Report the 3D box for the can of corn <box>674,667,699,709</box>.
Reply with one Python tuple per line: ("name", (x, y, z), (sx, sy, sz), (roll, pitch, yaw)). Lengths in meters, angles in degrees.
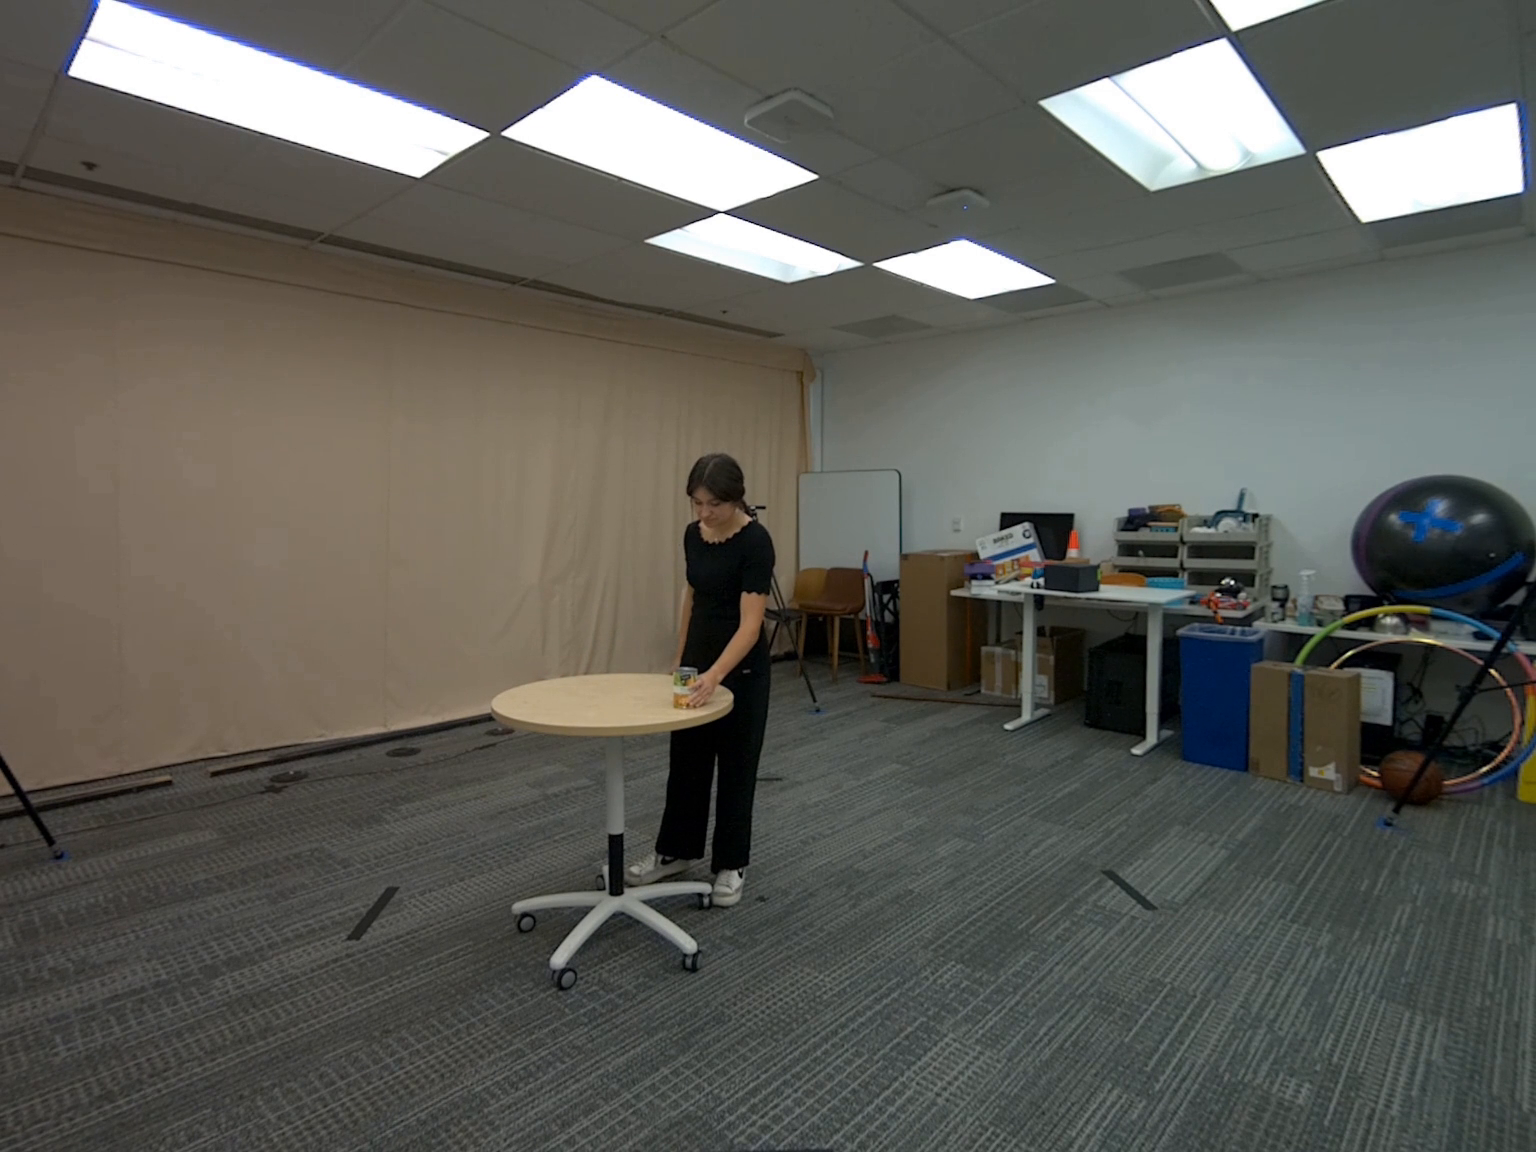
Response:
("can of corn", (-0.250, 0.337, 2.561), (0.074, 0.111, 0.074), (-1, 3, -2))
